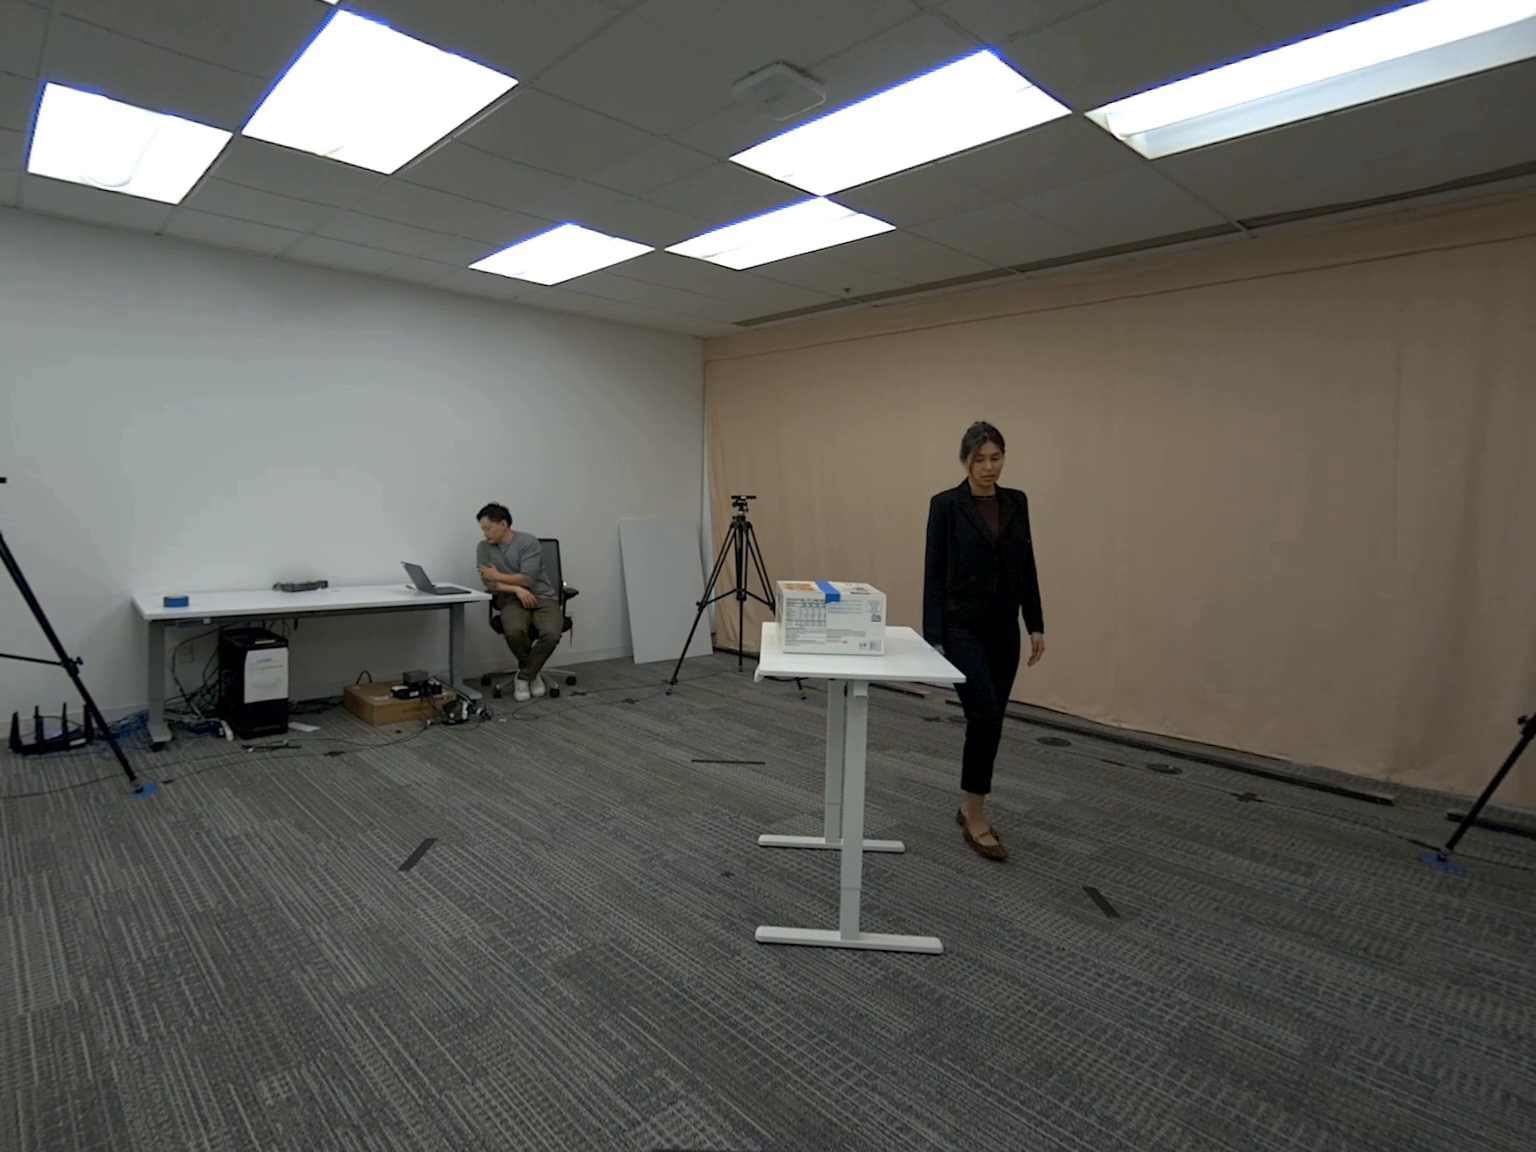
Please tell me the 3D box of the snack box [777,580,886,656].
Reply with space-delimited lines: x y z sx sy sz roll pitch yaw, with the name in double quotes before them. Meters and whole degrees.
"snack box" 0.201 0.140 2.953 0.340 0.205 0.406 2 5 -1
